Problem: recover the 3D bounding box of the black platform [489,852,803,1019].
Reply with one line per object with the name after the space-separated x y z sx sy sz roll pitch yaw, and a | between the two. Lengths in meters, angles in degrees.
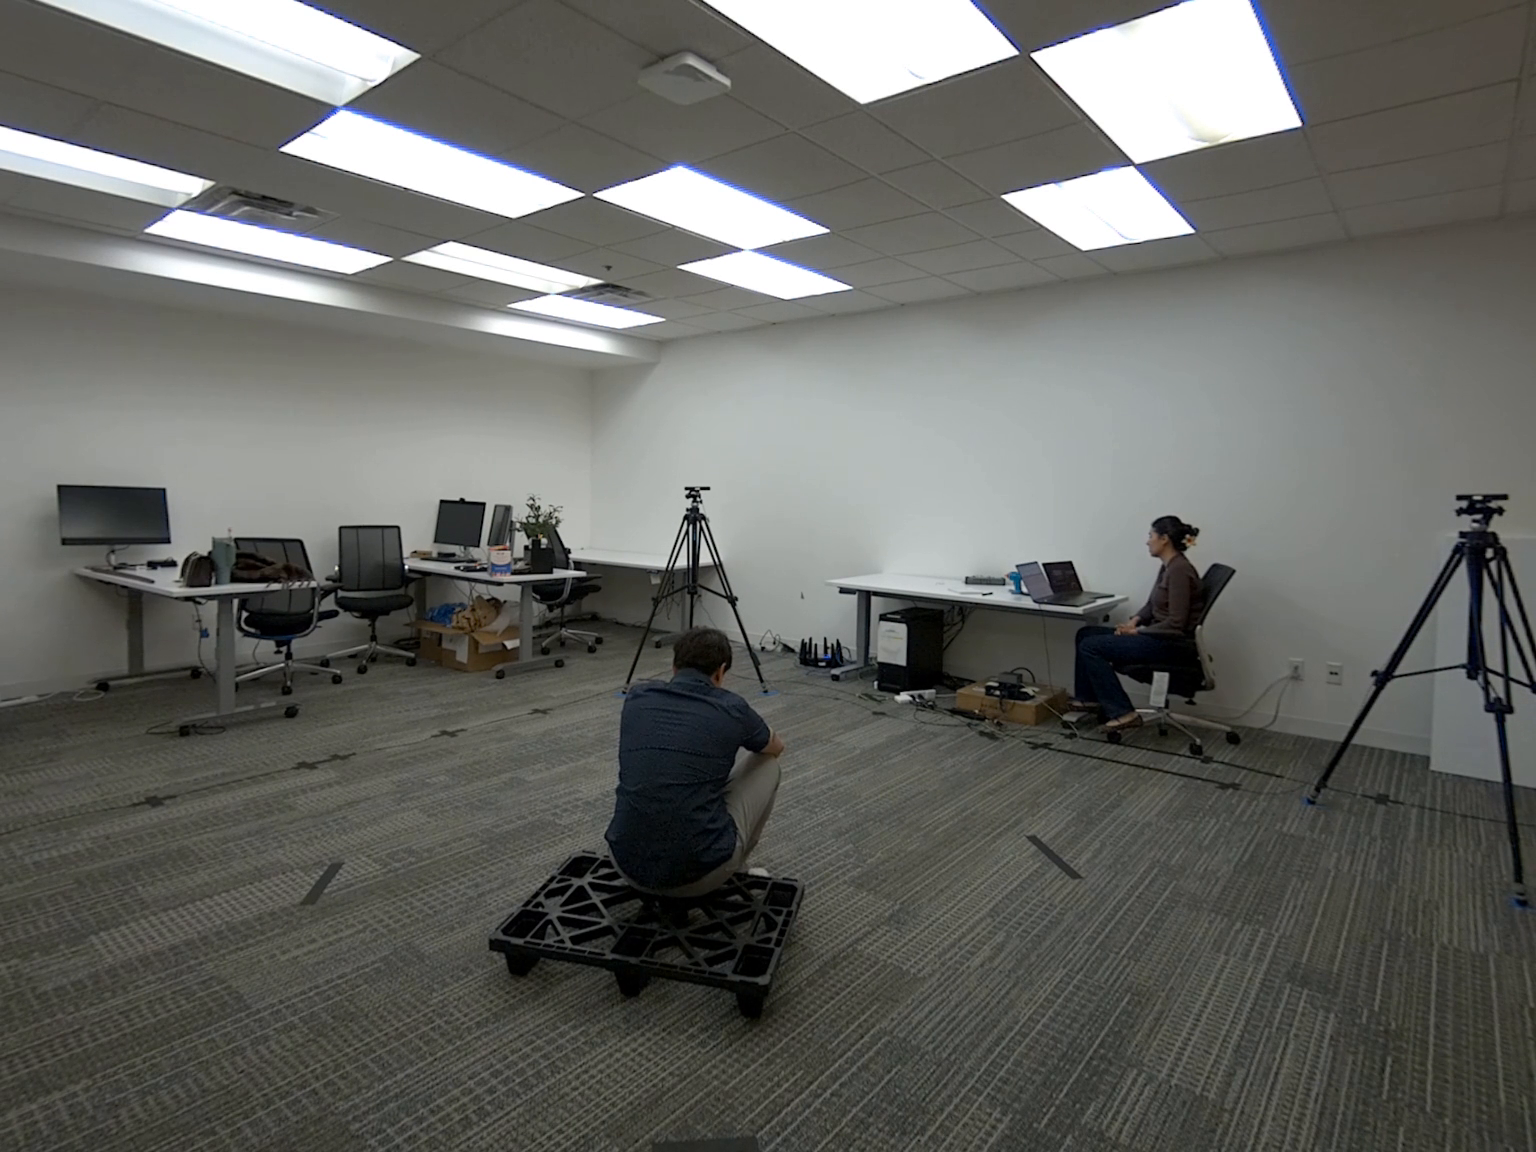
-0.343 1.053 2.548 0.818 0.143 0.598 2 5 13 | black platform
